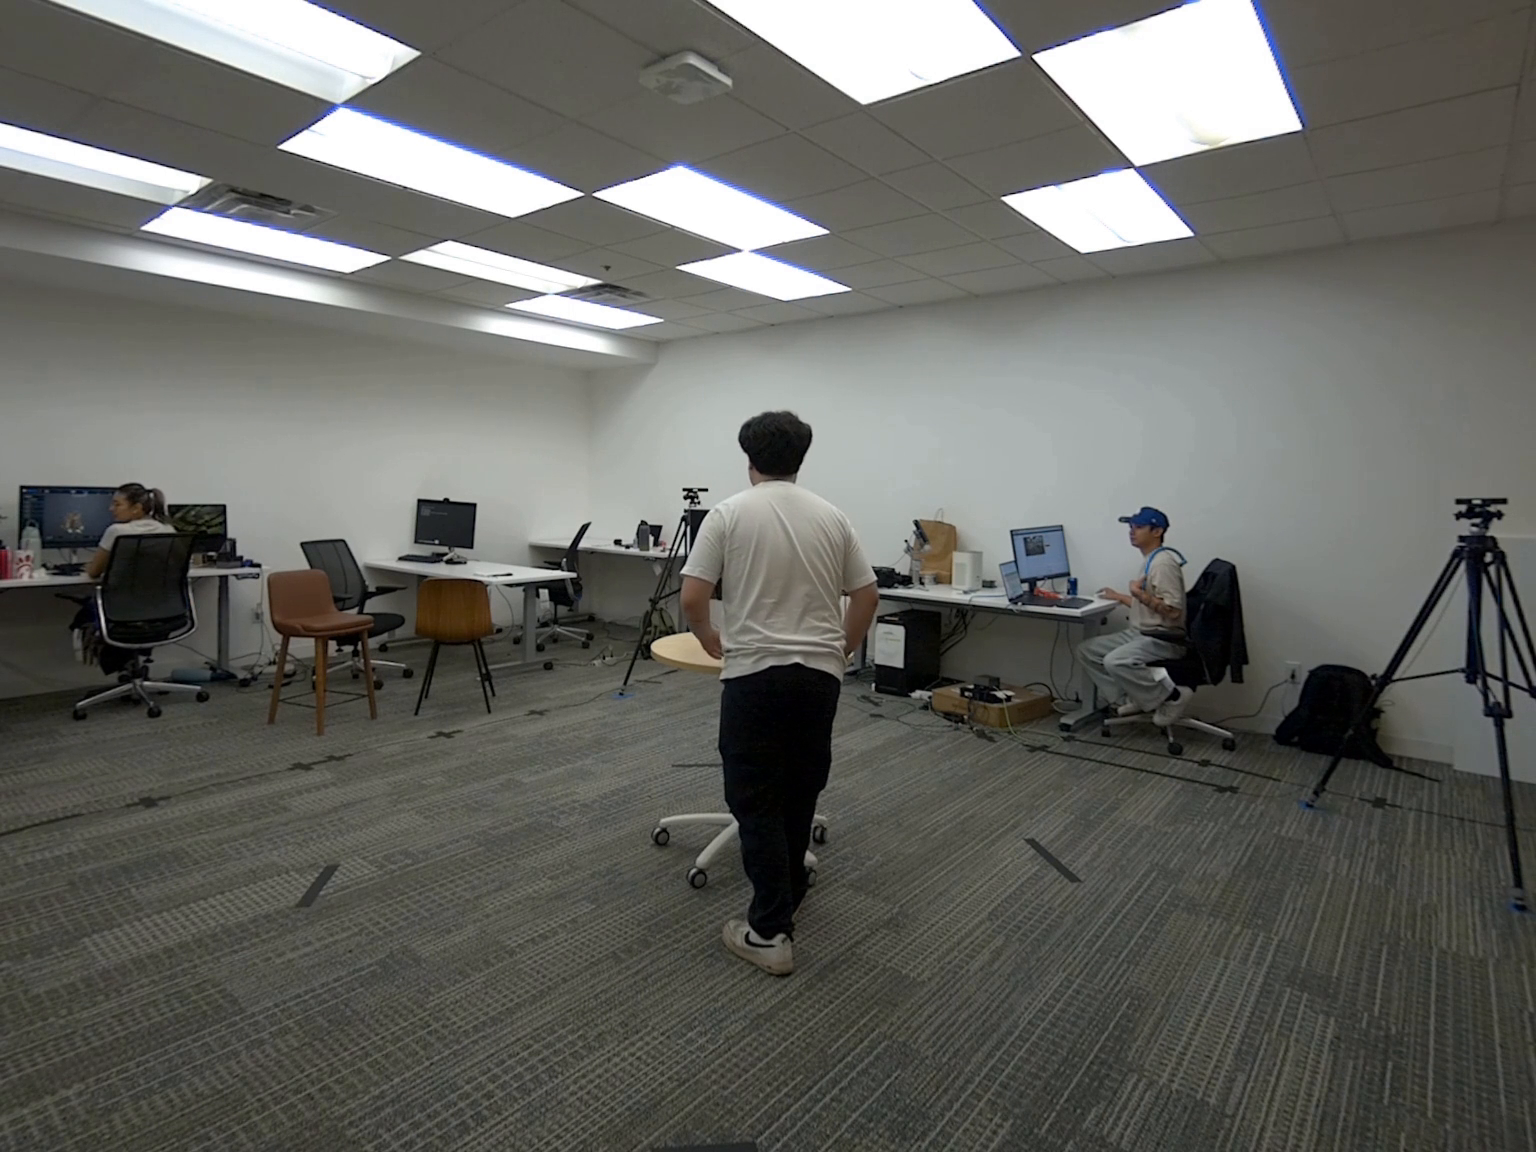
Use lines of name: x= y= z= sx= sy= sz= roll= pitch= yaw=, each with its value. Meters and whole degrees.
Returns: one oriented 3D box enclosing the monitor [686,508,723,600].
monitor: x=-0.055 y=0.019 z=3.164 sx=0.576 sy=0.550 sz=0.207 roll=3 pitch=7 yaw=18
